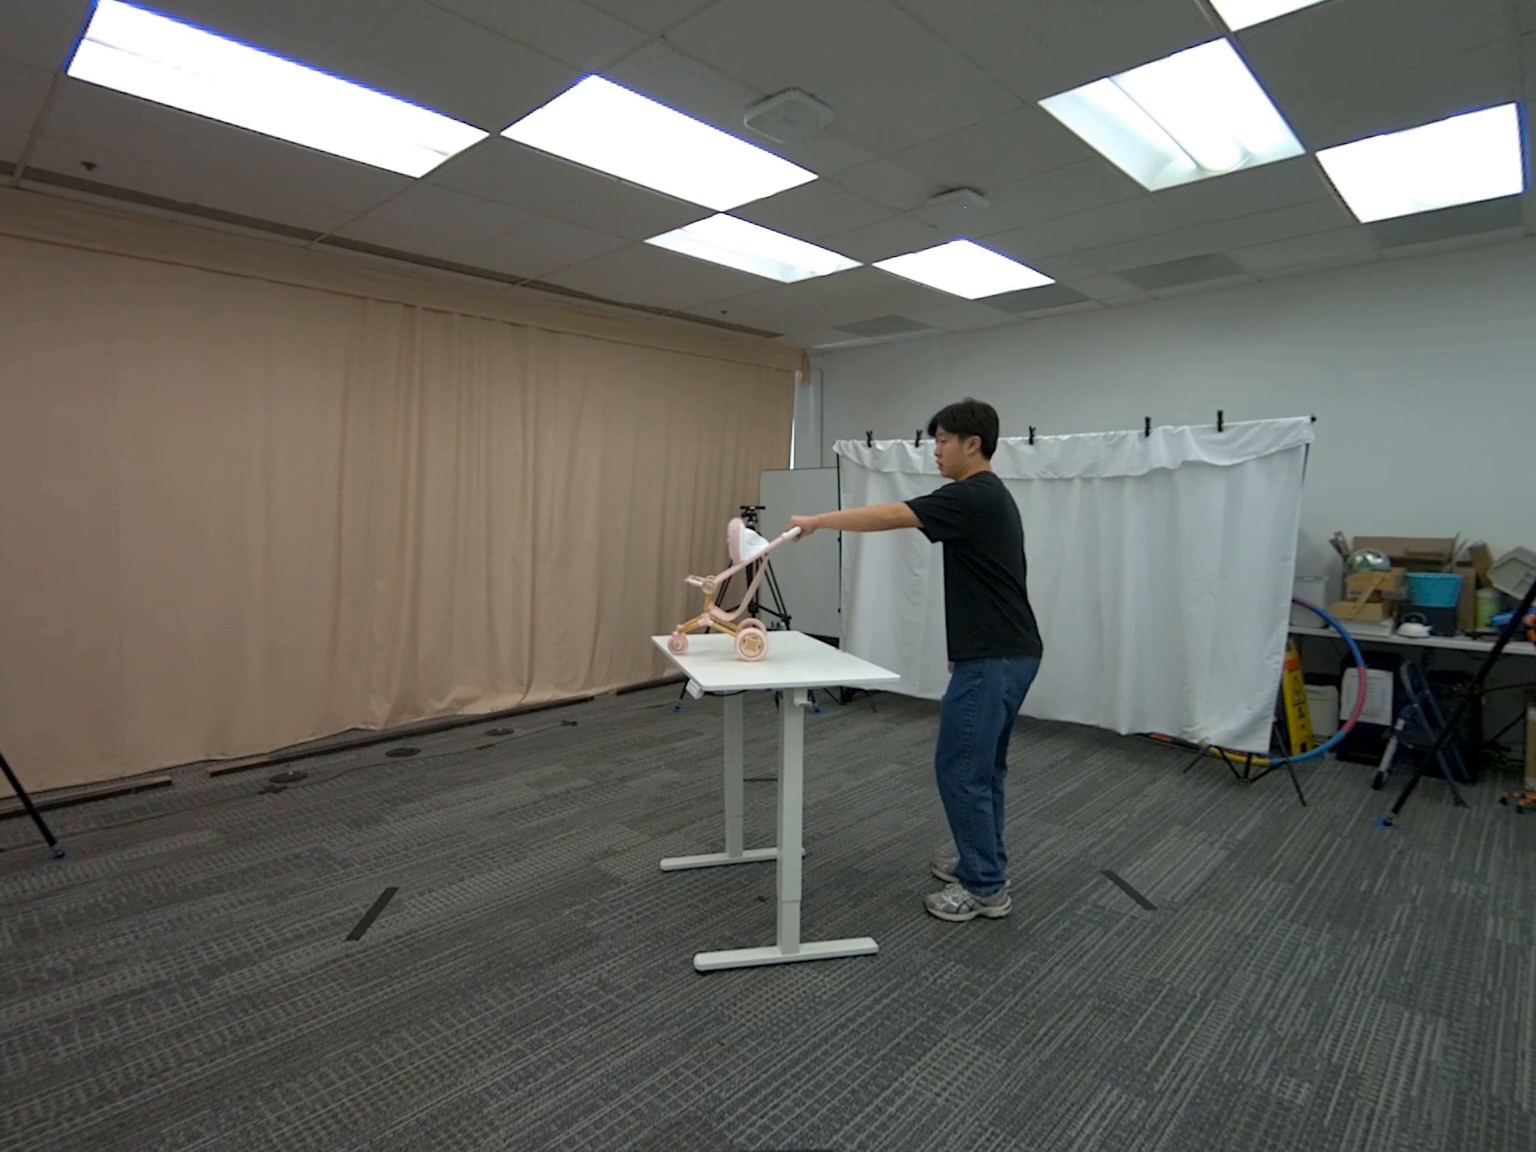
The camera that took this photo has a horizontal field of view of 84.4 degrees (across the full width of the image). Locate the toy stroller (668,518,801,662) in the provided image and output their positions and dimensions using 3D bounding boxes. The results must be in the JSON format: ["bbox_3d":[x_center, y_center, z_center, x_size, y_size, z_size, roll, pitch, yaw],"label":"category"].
[{"bbox_3d":[-0.120,0.048,2.874,0.344,0.534,0.280,15,4,5],"label":"toy stroller"}]
